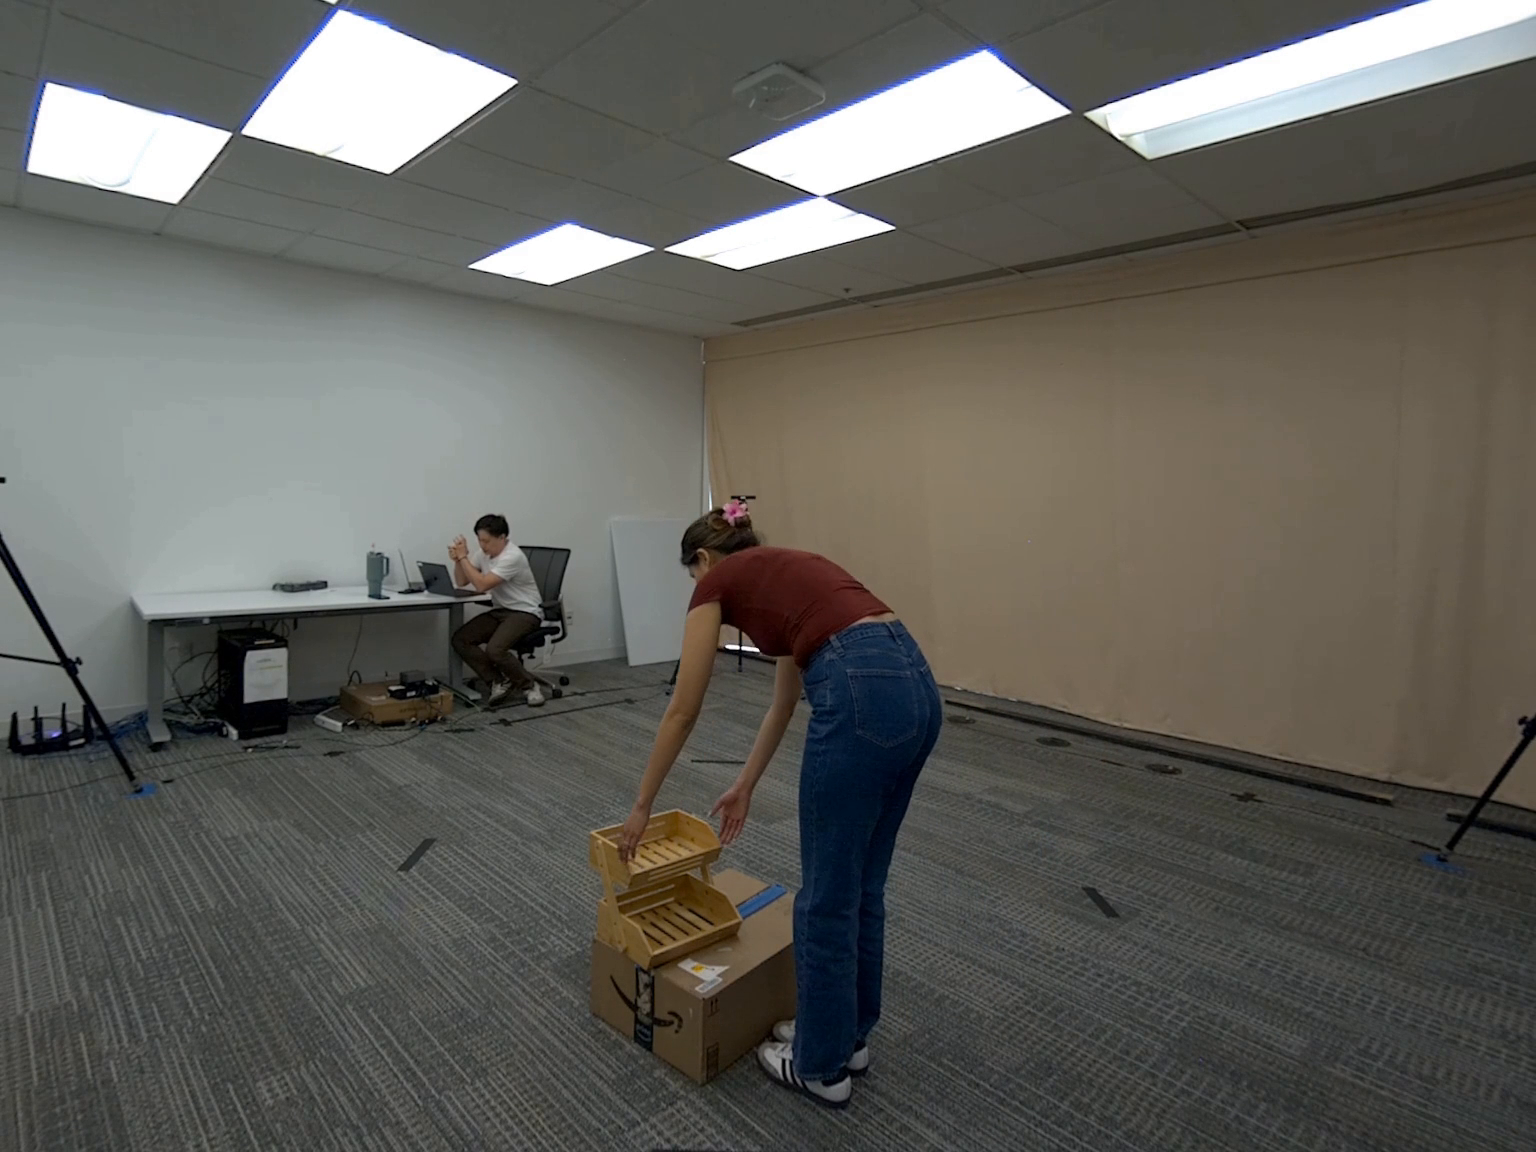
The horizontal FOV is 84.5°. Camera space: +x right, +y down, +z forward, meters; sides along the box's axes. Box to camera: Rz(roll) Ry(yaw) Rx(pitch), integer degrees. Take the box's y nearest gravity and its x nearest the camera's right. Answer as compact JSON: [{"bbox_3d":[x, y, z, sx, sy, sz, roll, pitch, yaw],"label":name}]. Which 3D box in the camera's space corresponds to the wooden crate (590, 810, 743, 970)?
[{"bbox_3d":[-0.279,0.830,2.266,0.317,0.273,0.310,-1,4,-42],"label":"wooden crate"}]
